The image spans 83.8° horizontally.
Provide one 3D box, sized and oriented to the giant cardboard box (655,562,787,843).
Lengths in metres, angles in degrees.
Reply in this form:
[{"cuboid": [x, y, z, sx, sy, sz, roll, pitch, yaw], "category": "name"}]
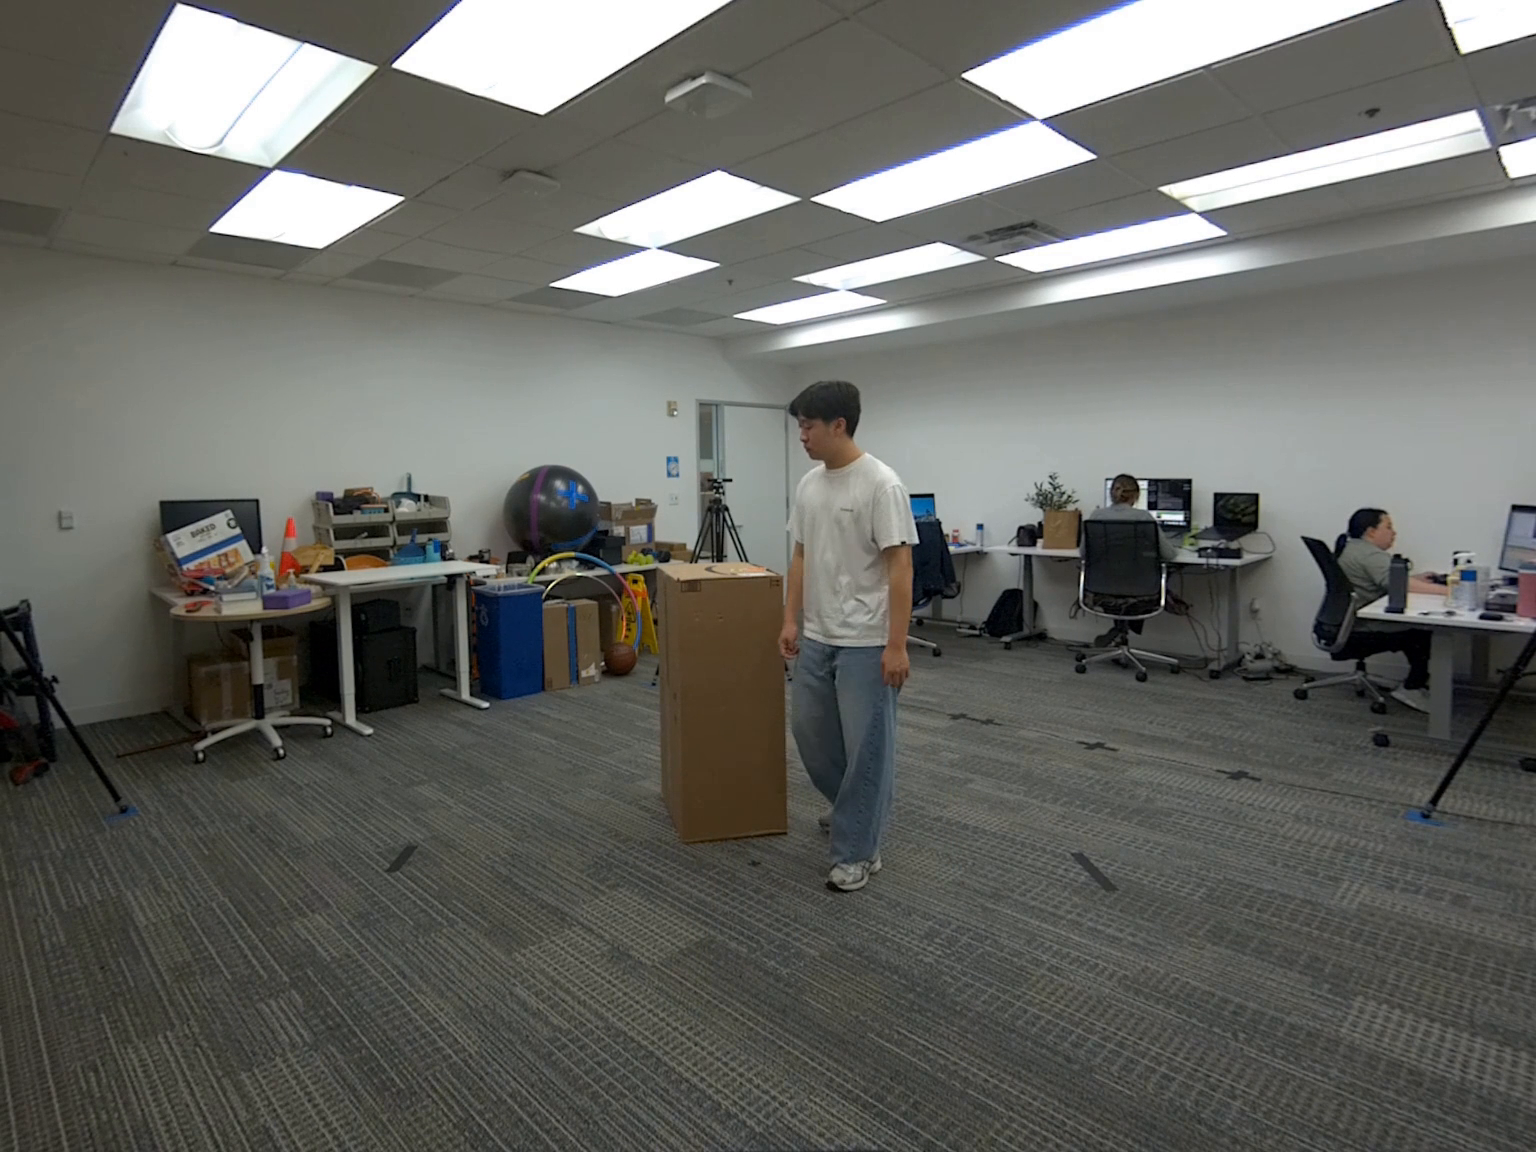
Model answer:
[{"cuboid": [-0.208, 0.484, 3.571, 0.420, 1.022, 0.587, -2, 4, -16], "category": "giant cardboard box"}]
